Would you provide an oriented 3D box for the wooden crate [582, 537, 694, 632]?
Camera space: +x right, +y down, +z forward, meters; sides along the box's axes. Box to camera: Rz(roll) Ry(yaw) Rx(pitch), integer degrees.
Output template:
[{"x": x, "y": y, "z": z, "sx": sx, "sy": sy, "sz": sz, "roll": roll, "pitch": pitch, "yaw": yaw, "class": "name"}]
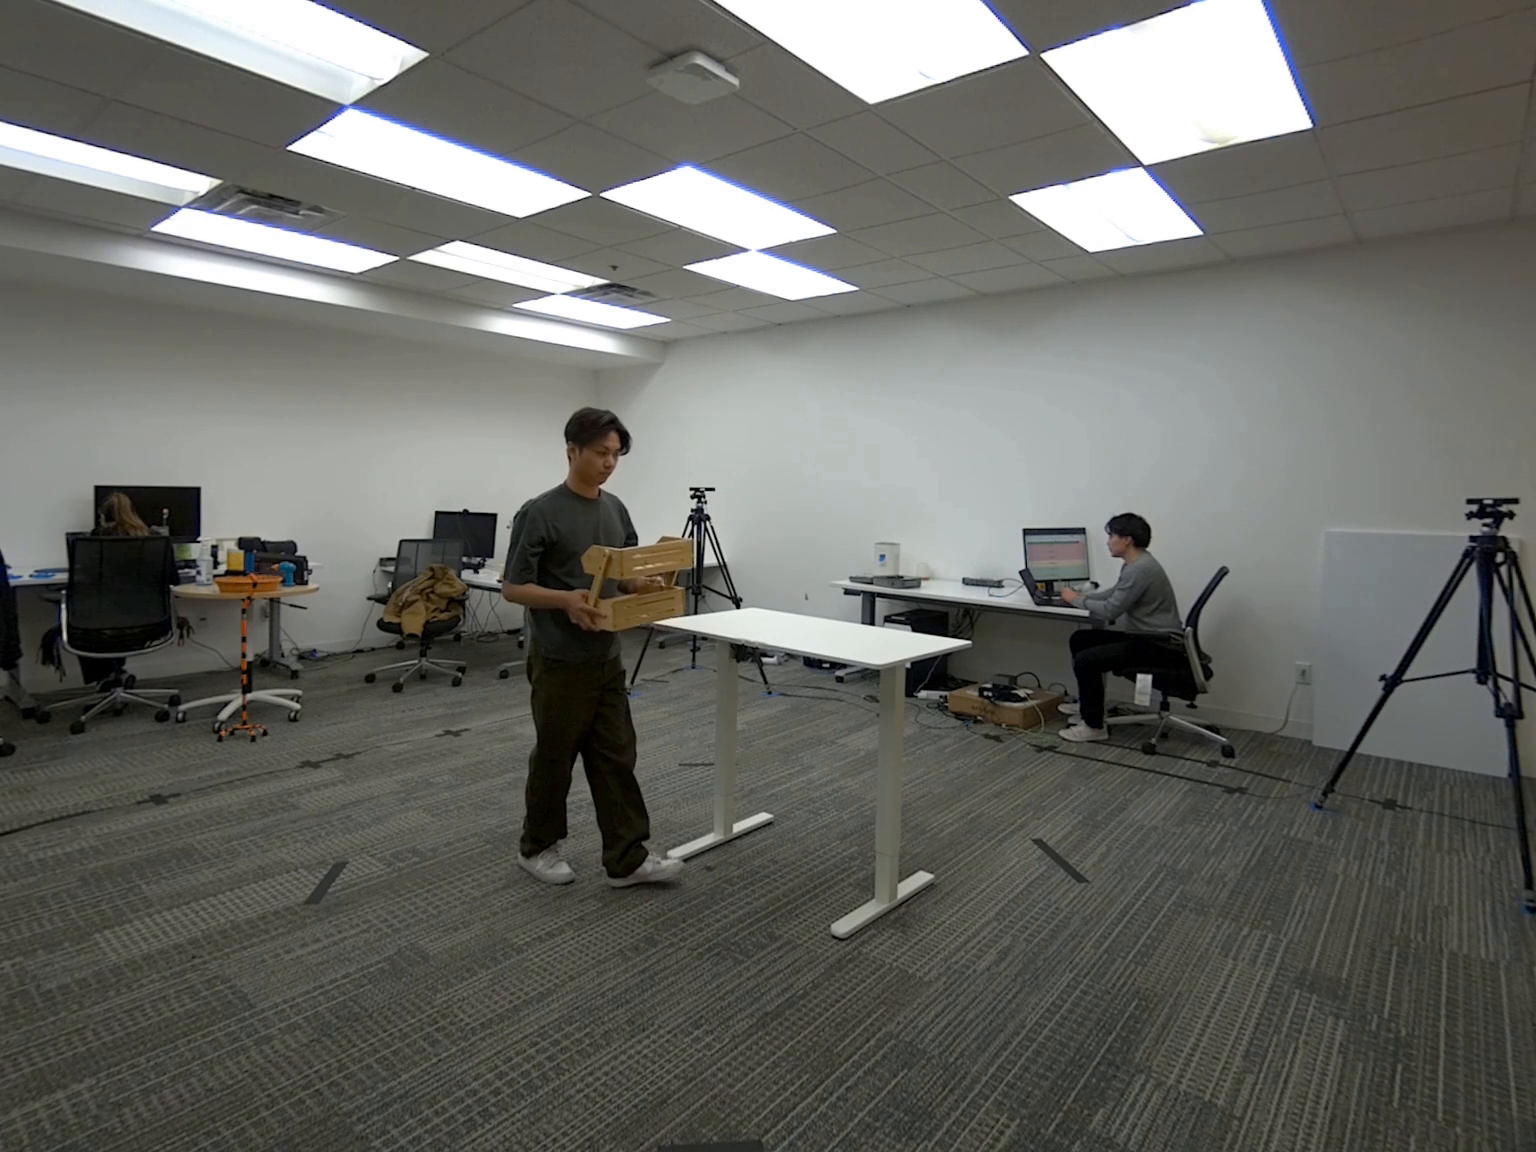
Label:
[{"x": -0.452, "y": 0.007, "z": 2.777, "sx": 0.313, "sy": 0.271, "sz": 0.316, "roll": 8, "pitch": 12, "yaw": 42, "class": "wooden crate"}]
